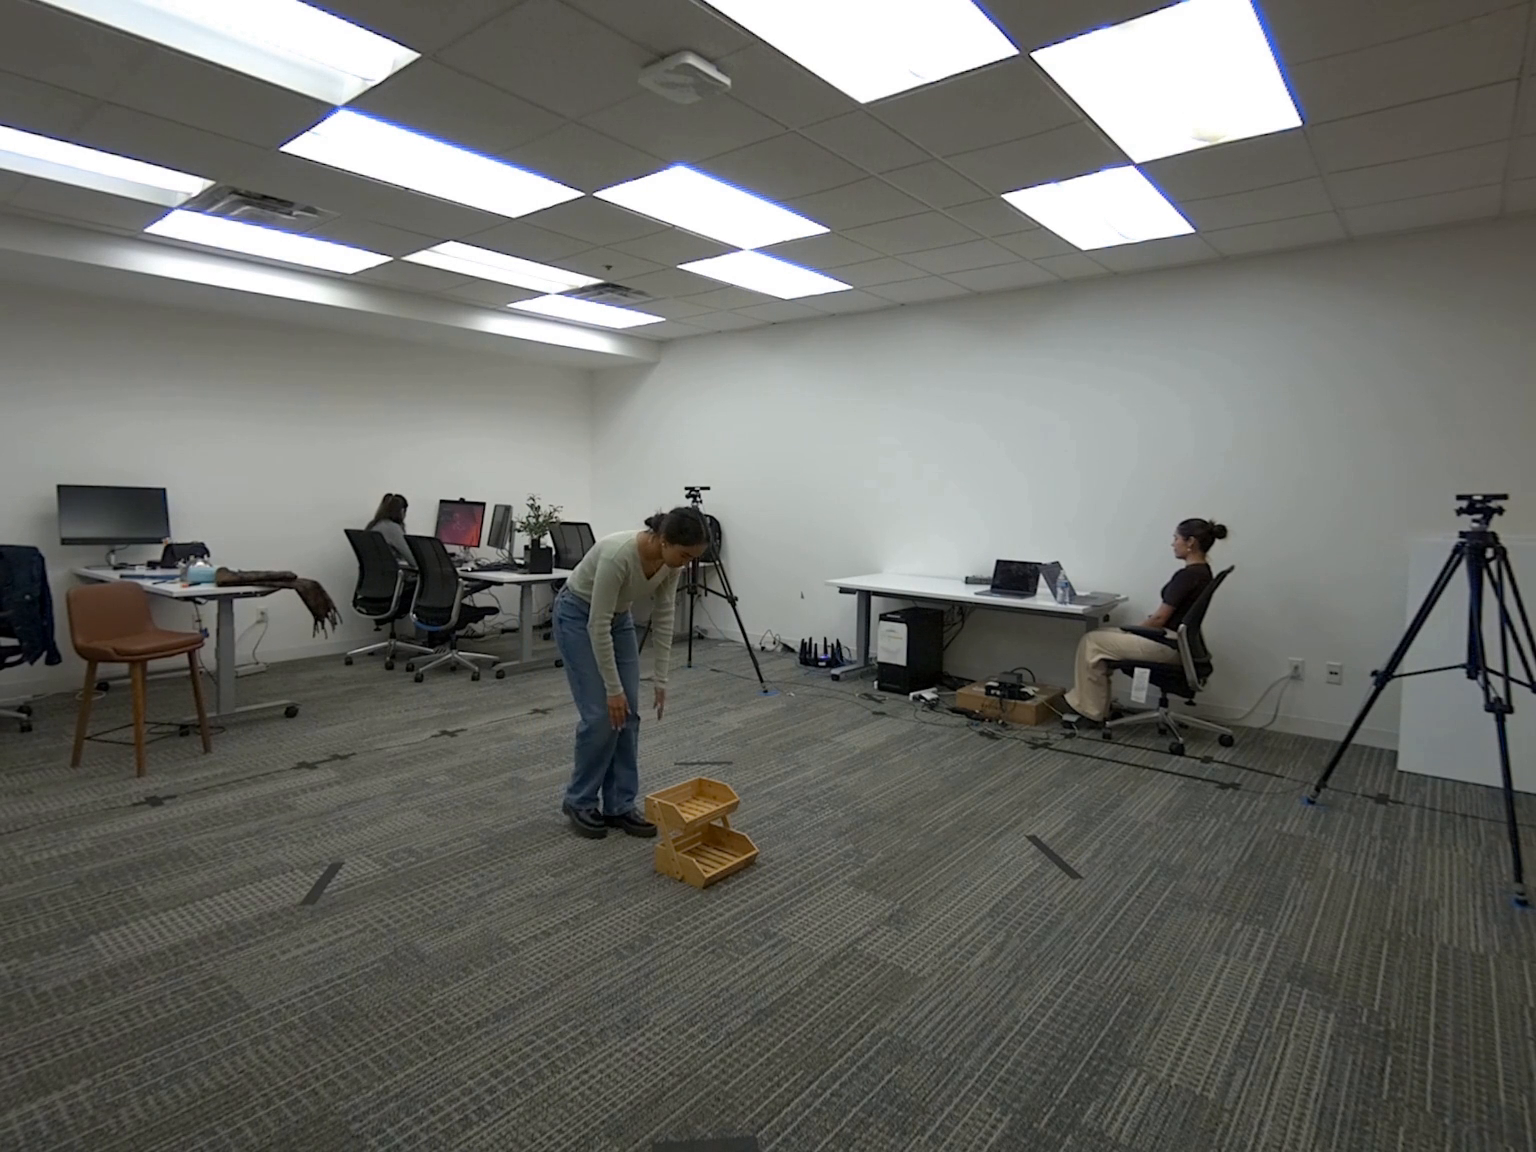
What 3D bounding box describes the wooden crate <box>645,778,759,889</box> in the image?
[{"bbox_3d":[-0.252,0.928,3.132,0.312,0.272,0.315,3,5,39],"label":"wooden crate"}]
